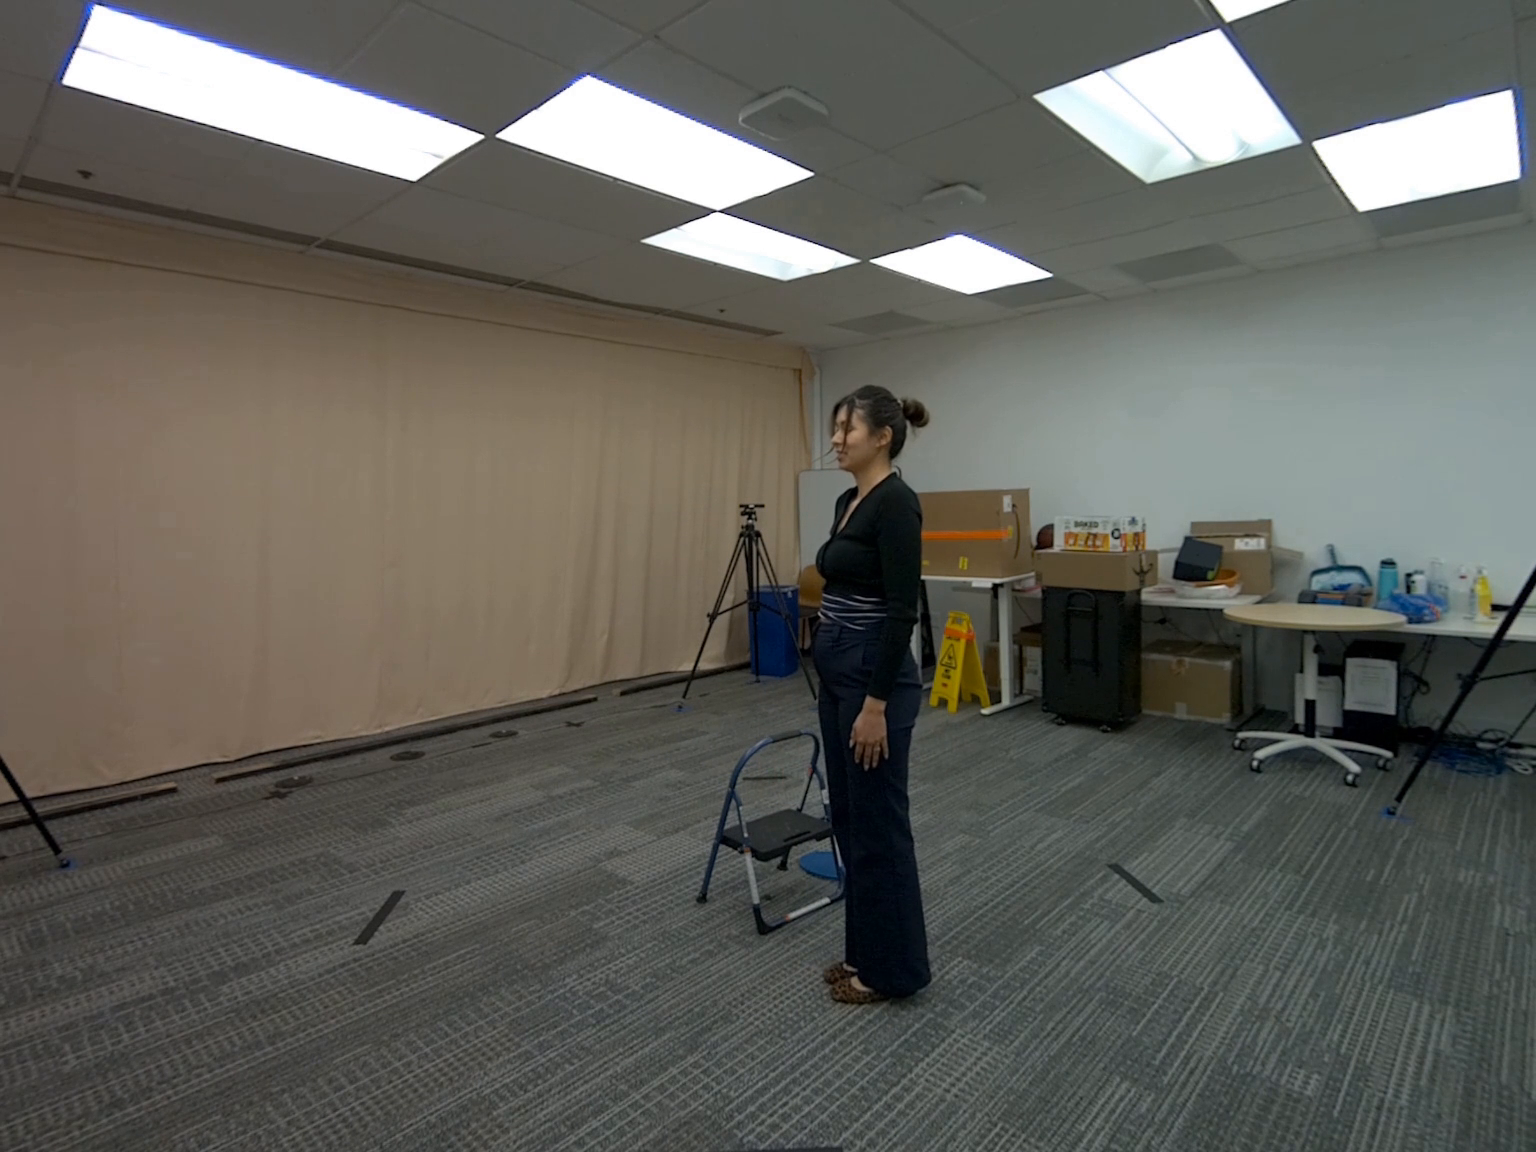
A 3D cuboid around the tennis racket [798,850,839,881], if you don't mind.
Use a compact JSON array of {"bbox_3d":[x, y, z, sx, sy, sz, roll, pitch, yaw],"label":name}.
[{"bbox_3d":[0.291,1.104,3.150,0.207,0.032,0.447,-5,5,-39],"label":"tennis racket"}]
